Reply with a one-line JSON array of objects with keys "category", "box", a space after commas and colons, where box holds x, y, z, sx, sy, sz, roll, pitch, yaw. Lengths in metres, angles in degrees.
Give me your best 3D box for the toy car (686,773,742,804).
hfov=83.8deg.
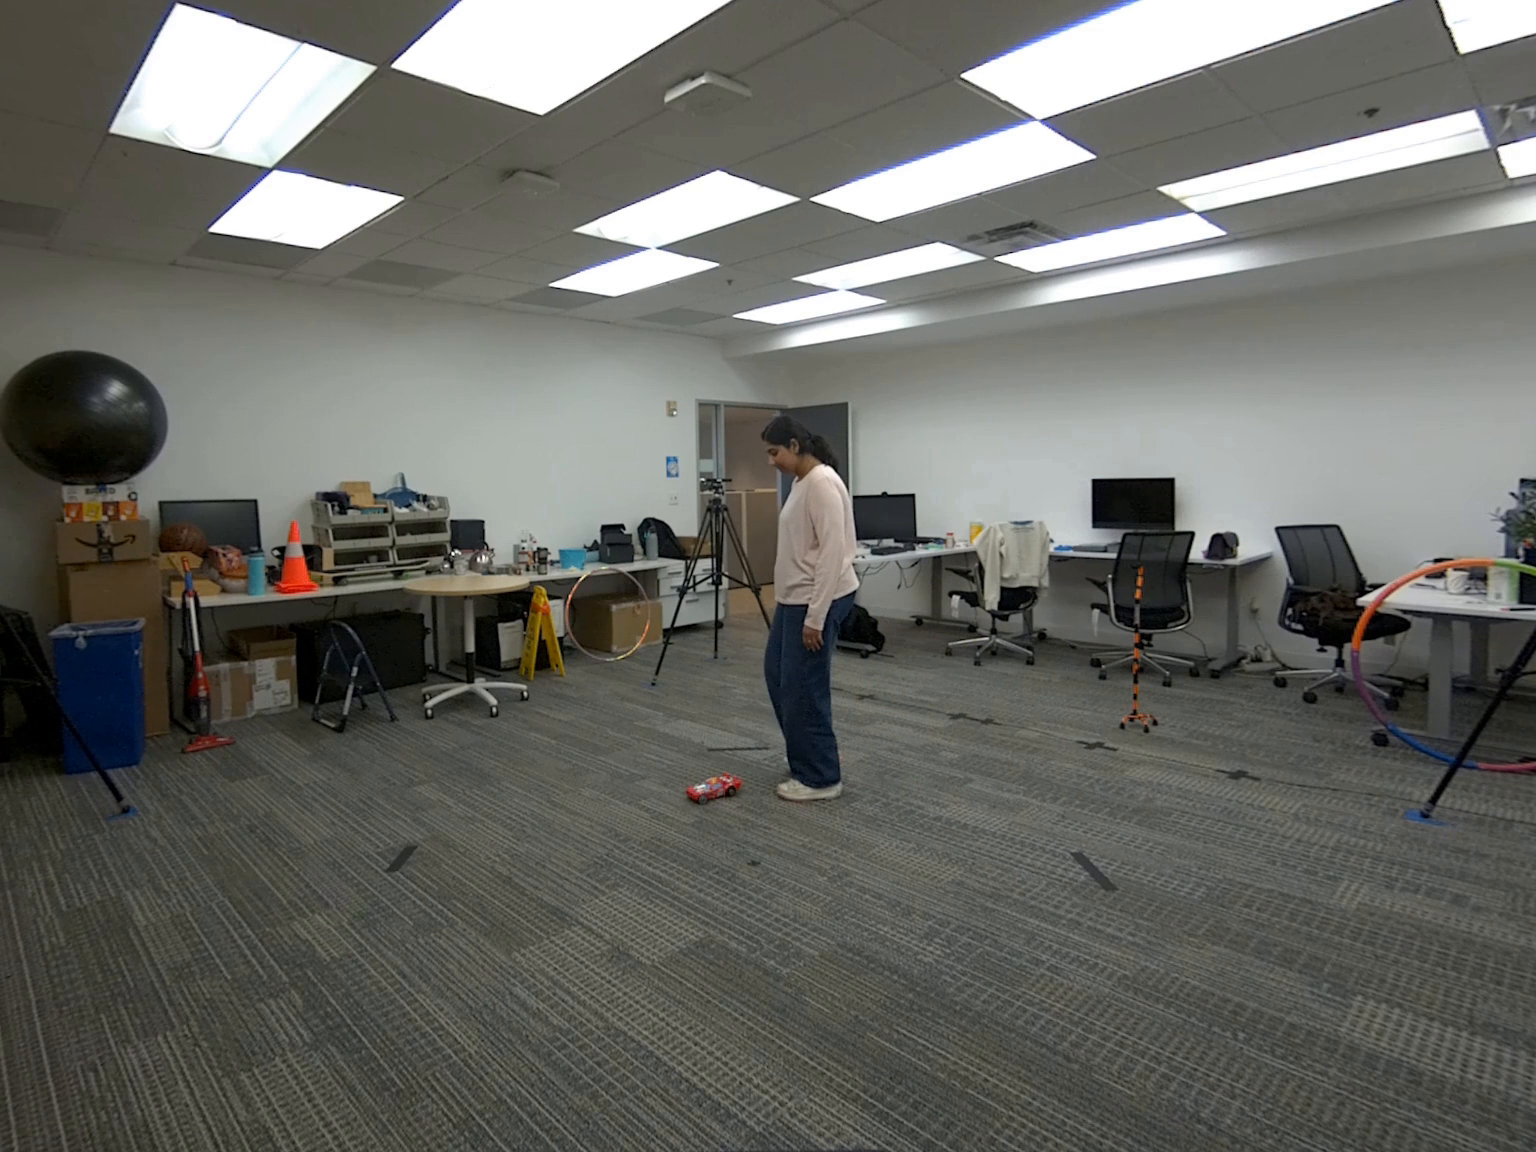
[{"category": "toy car", "box": [-0.235, 0.945, 3.782, 0.250, 0.082, 0.134, -17, 13, -31]}]
